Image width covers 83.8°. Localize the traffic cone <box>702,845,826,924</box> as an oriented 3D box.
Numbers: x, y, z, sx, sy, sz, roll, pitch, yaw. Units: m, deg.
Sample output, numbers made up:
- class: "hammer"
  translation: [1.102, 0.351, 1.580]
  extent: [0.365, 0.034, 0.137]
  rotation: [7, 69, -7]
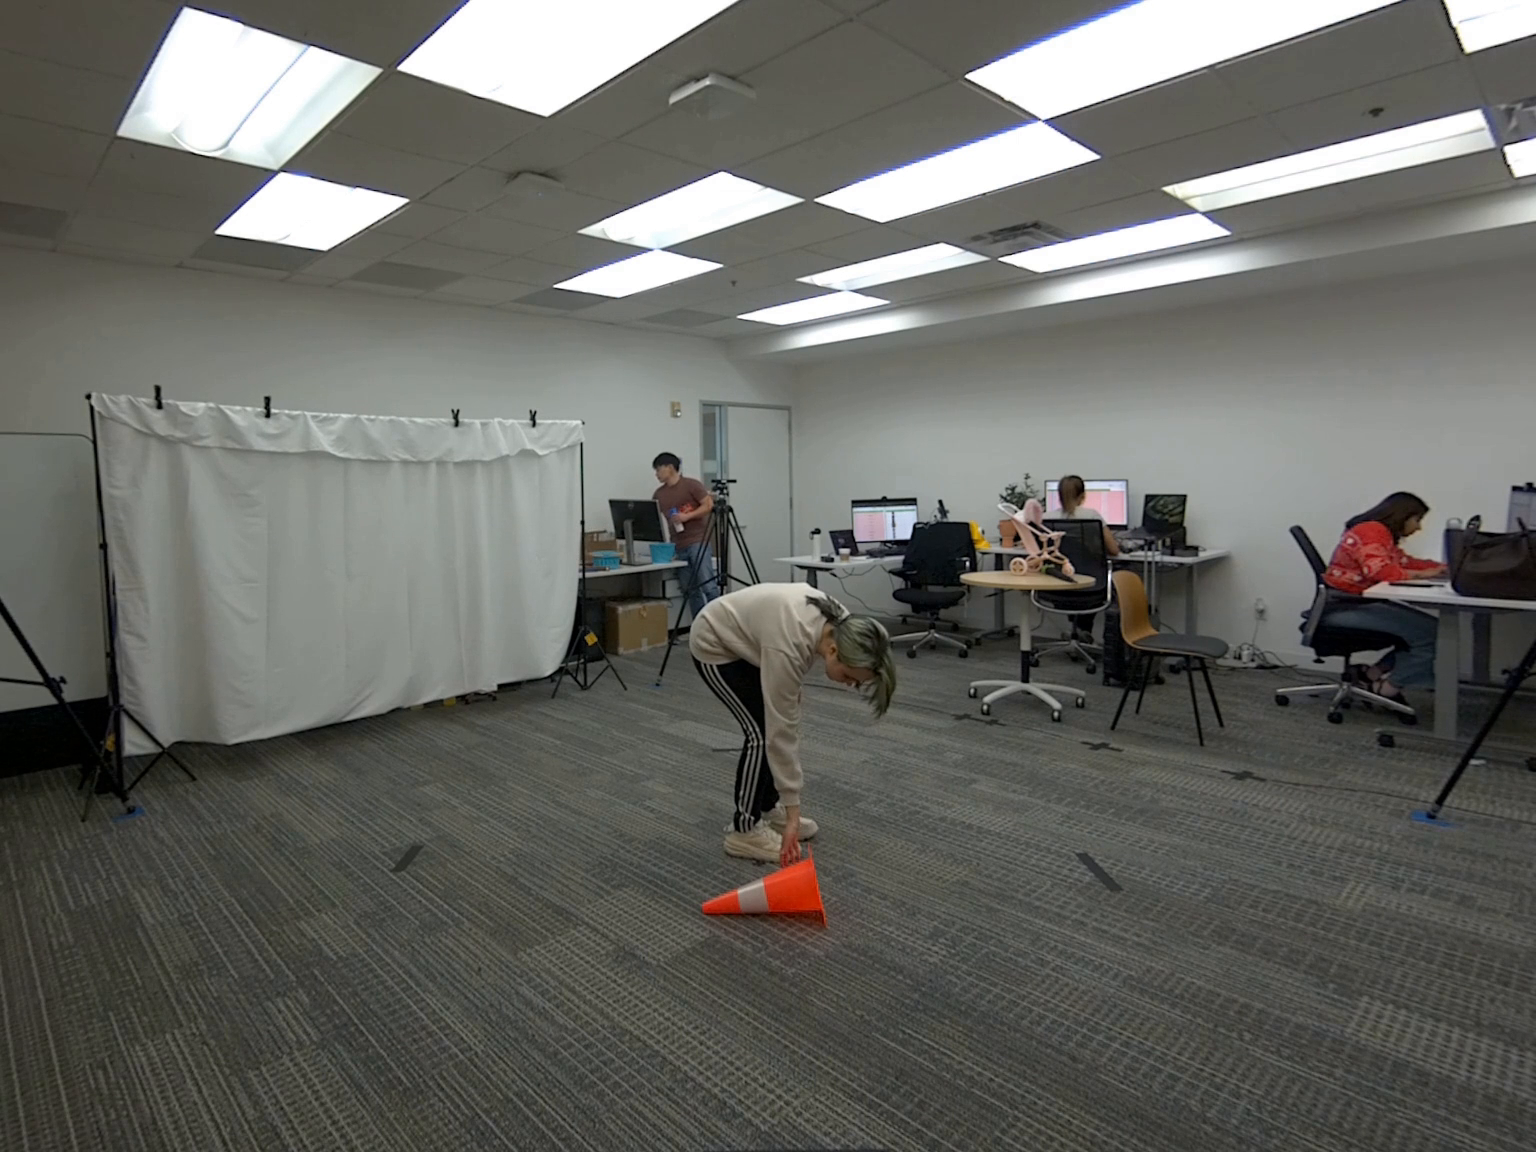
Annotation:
- class: "traffic cone"
  translation: [-0.024, 1.040, 2.748]
  extent: [0.384, 0.202, 0.206]
  rotation: [-13, 6, 0]
